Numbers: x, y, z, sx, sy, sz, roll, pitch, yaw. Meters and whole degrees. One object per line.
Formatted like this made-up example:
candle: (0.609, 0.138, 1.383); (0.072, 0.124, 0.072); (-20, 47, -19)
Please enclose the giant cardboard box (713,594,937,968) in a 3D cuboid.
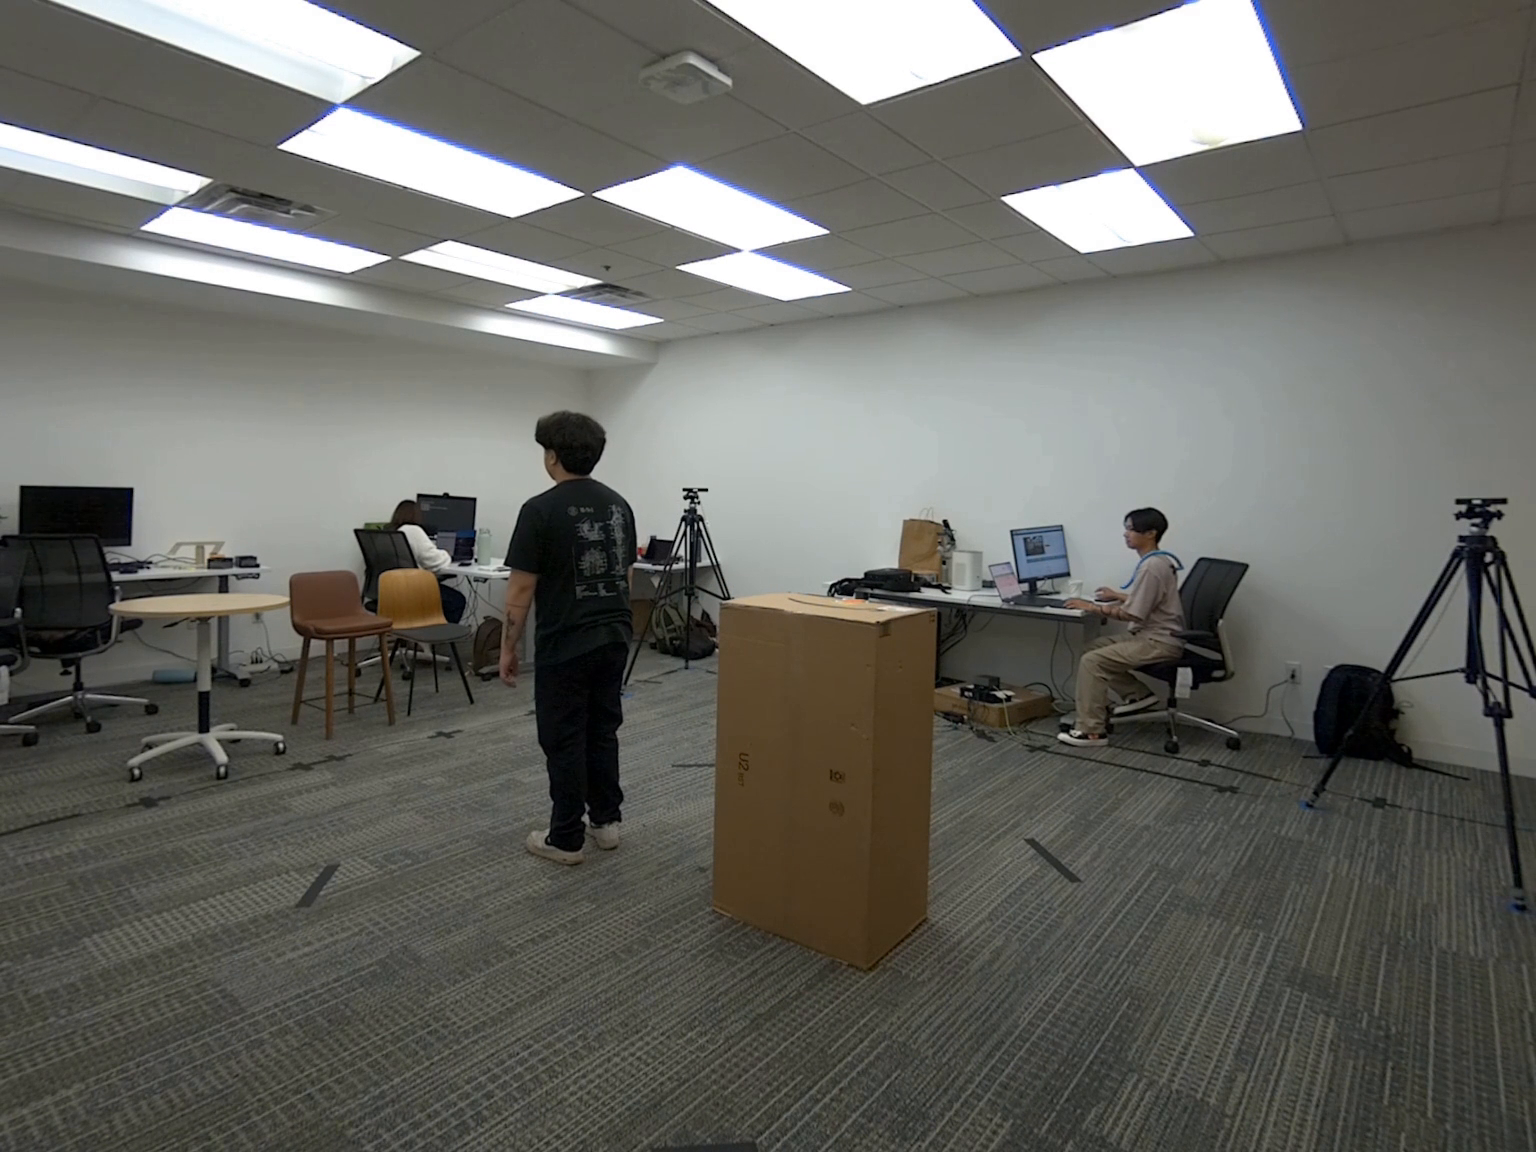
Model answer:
giant cardboard box: (0.178, 0.600, 2.778); (0.603, 1.024, 0.433); (4, 3, 37)
